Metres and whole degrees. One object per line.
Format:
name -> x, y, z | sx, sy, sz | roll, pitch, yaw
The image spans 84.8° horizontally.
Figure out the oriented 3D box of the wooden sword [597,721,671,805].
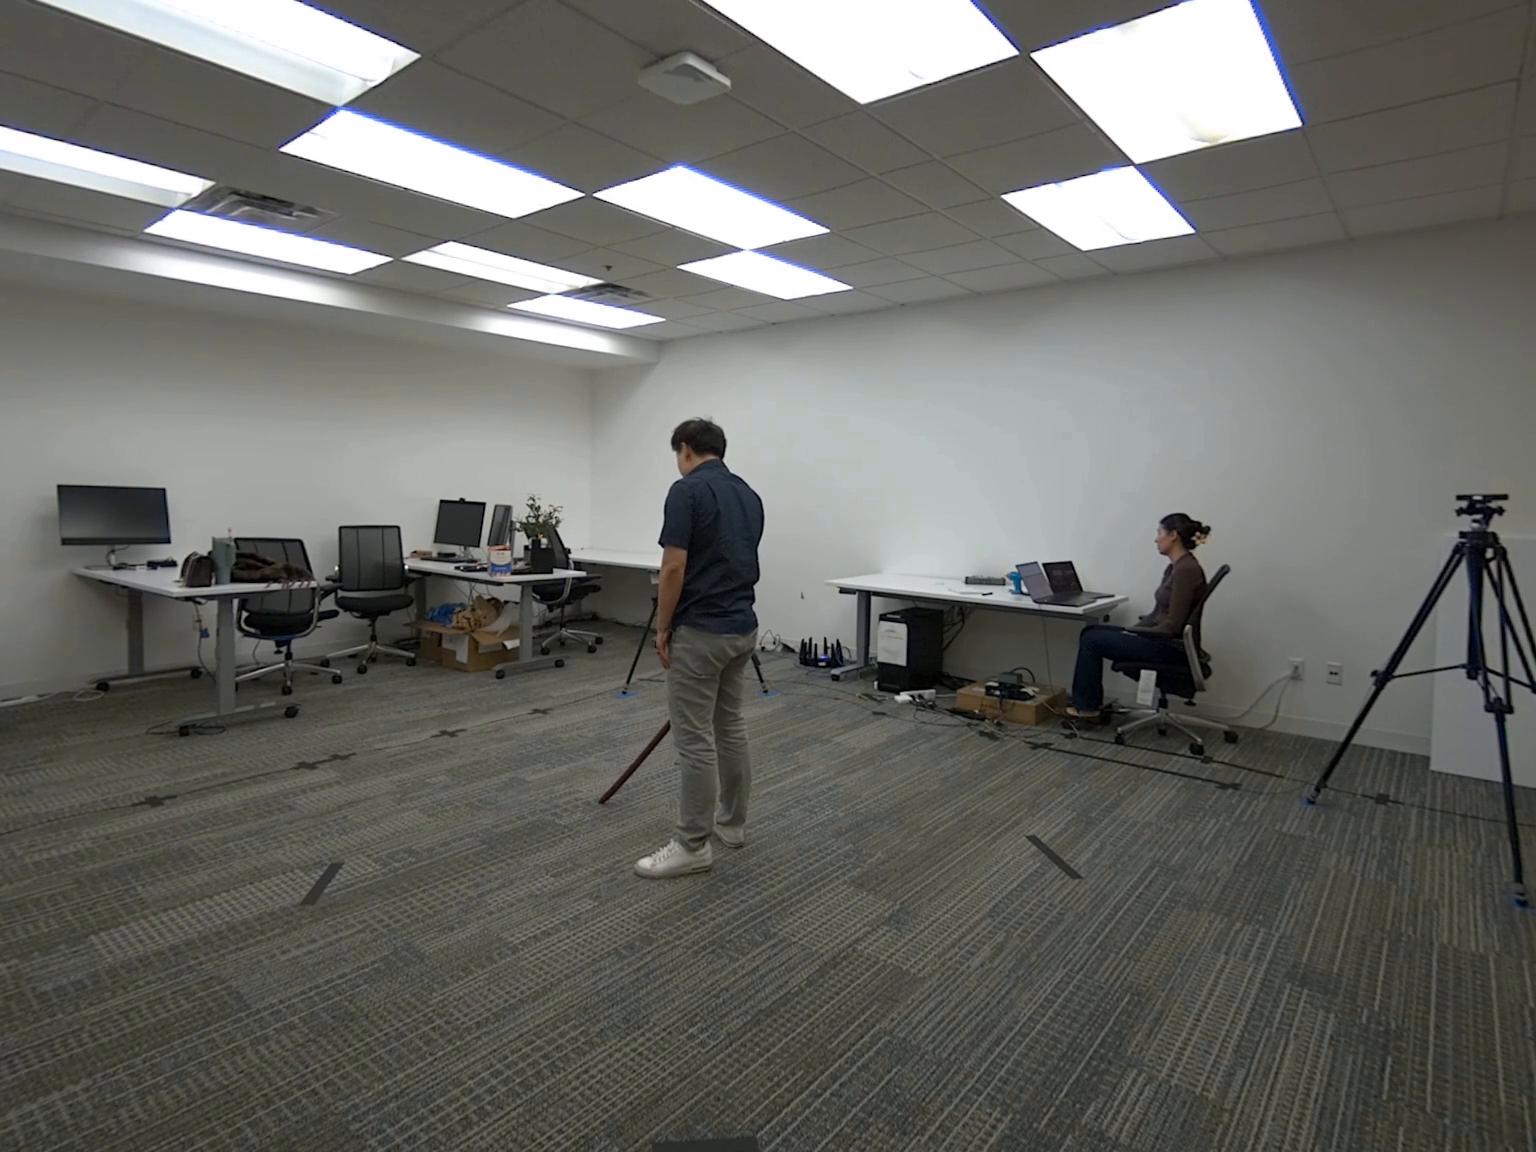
wooden sword -> -0.423, 0.611, 3.655 | 0.050, 1.024, 0.025 | 37, 10, -20
